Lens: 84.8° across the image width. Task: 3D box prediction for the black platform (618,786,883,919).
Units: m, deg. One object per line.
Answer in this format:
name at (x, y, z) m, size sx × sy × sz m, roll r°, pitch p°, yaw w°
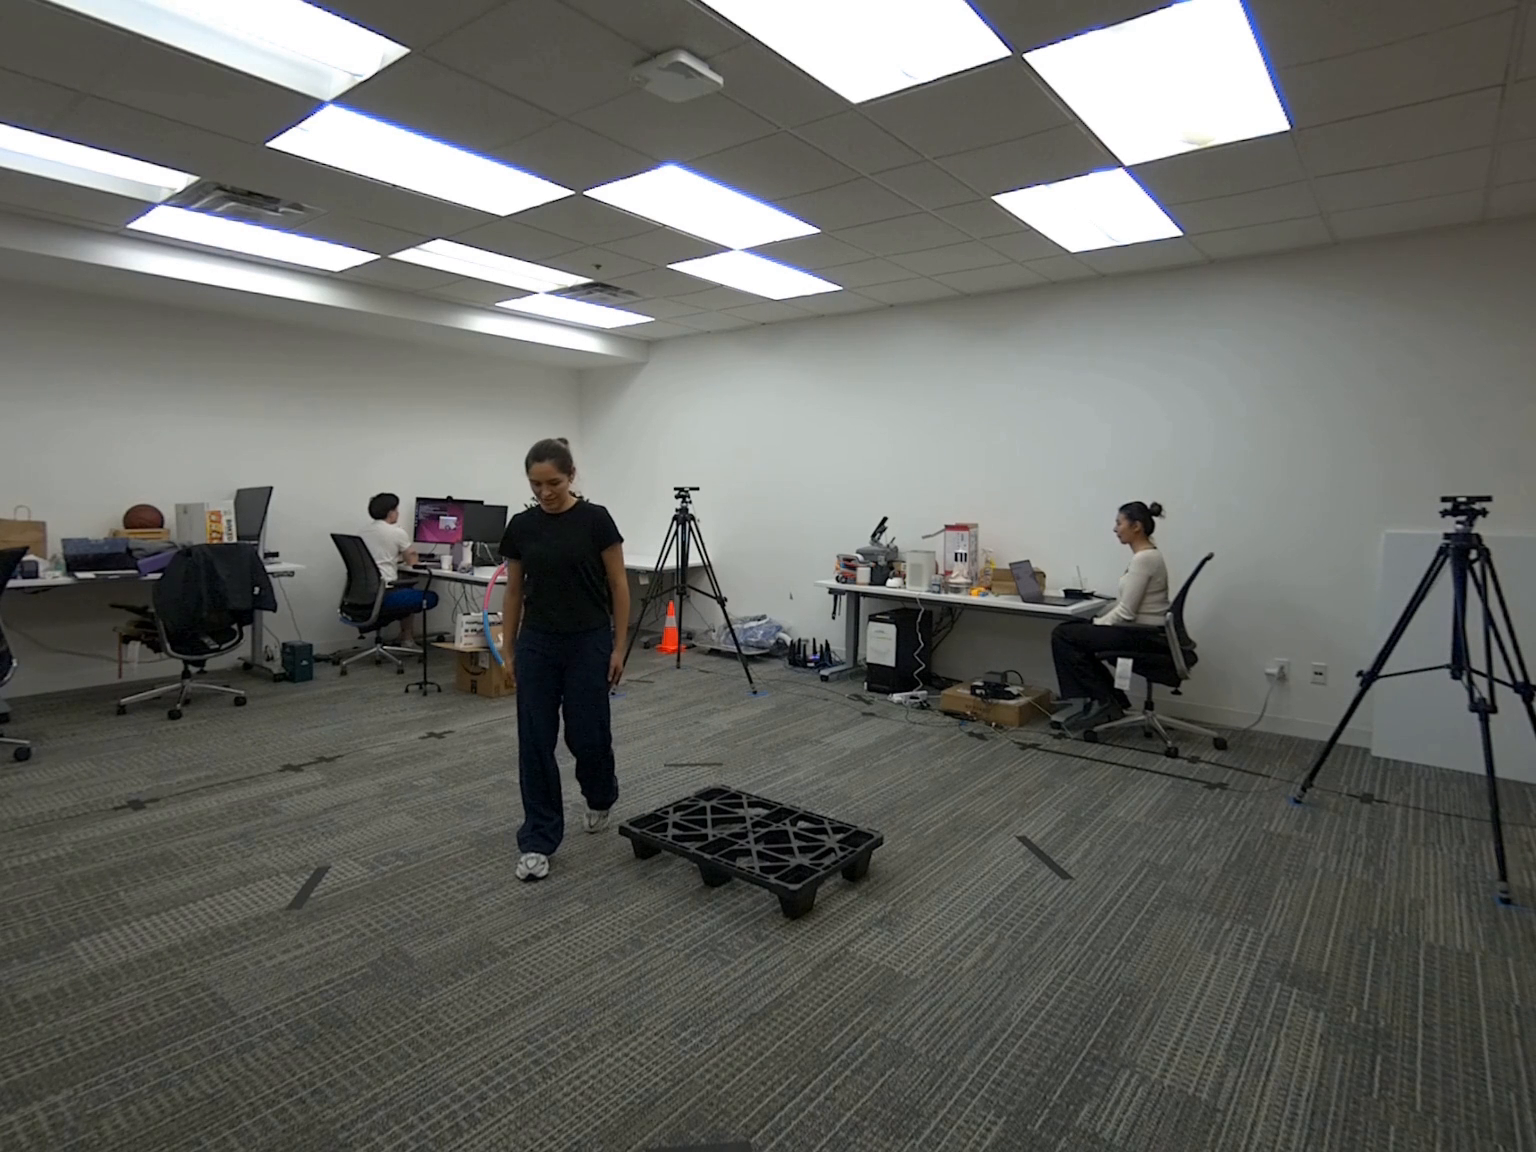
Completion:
black platform at (-0.052, 0.999, 3.163) m, size 0.832 × 0.143 × 0.587 m, roll 6°, pitch 6°, yaw 38°
